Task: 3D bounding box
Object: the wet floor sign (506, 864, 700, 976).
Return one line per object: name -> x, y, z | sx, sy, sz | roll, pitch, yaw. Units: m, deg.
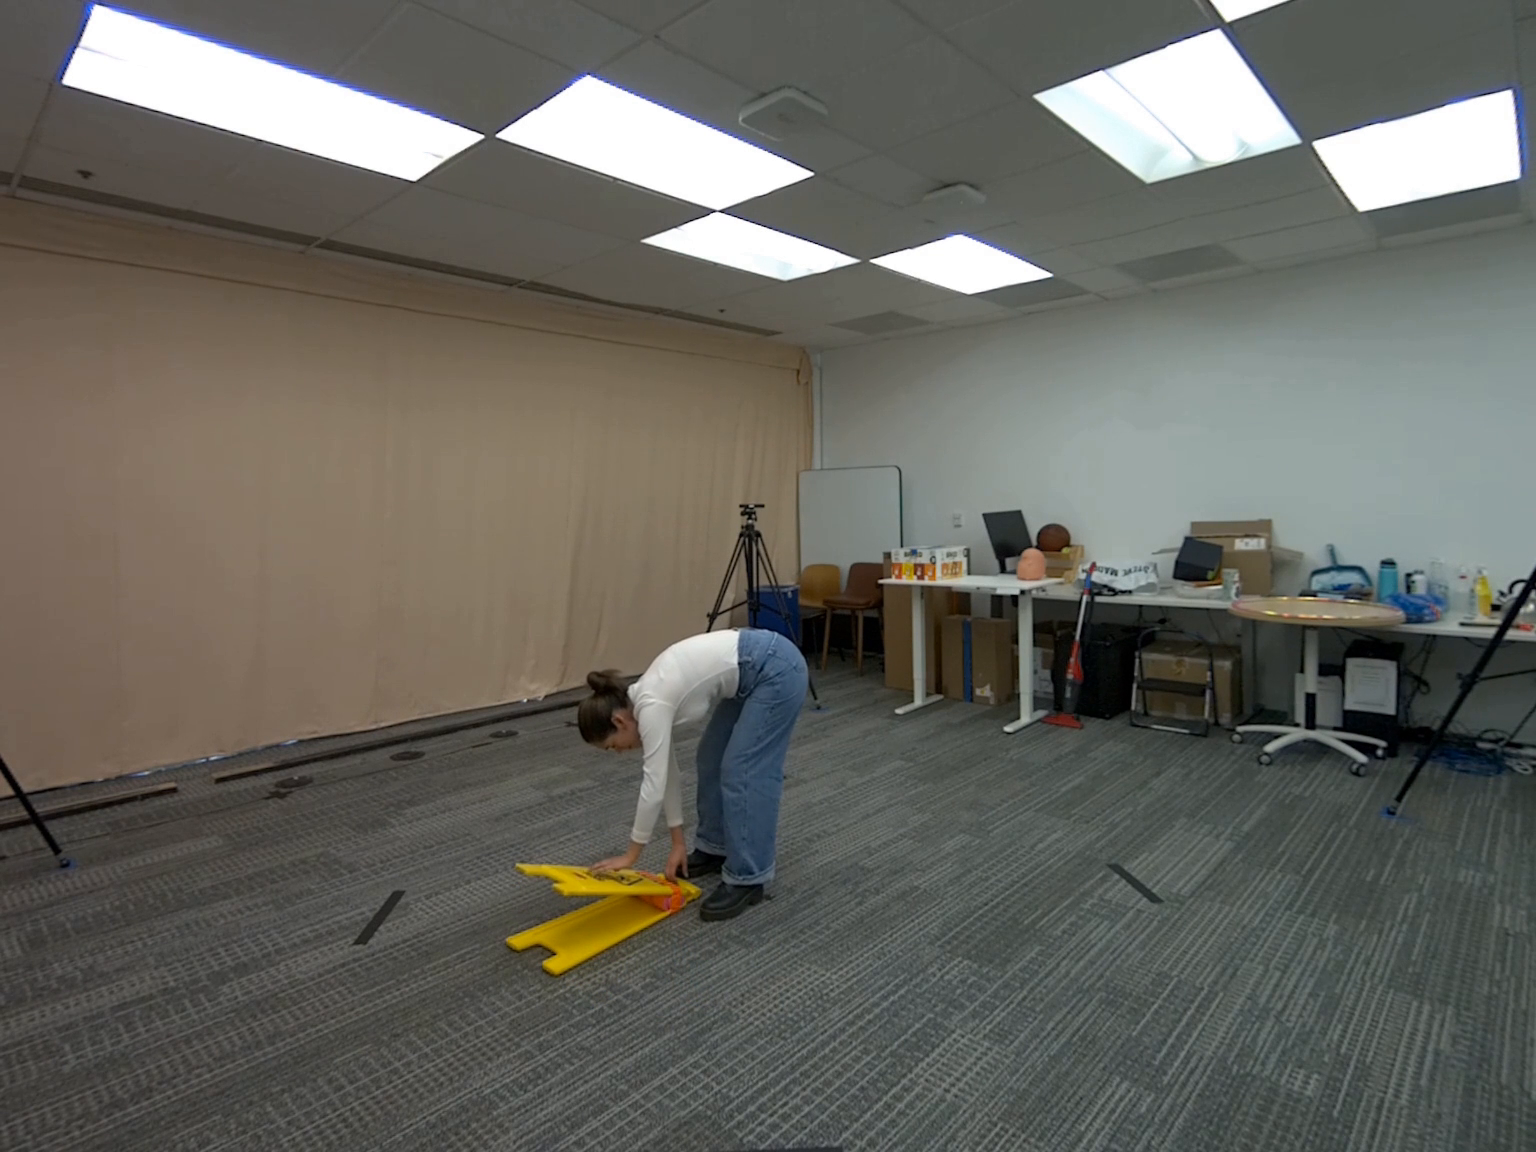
wet floor sign -> -0.517, 1.098, 2.824 | 0.292, 0.290, 0.624 | 5, -4, 43
